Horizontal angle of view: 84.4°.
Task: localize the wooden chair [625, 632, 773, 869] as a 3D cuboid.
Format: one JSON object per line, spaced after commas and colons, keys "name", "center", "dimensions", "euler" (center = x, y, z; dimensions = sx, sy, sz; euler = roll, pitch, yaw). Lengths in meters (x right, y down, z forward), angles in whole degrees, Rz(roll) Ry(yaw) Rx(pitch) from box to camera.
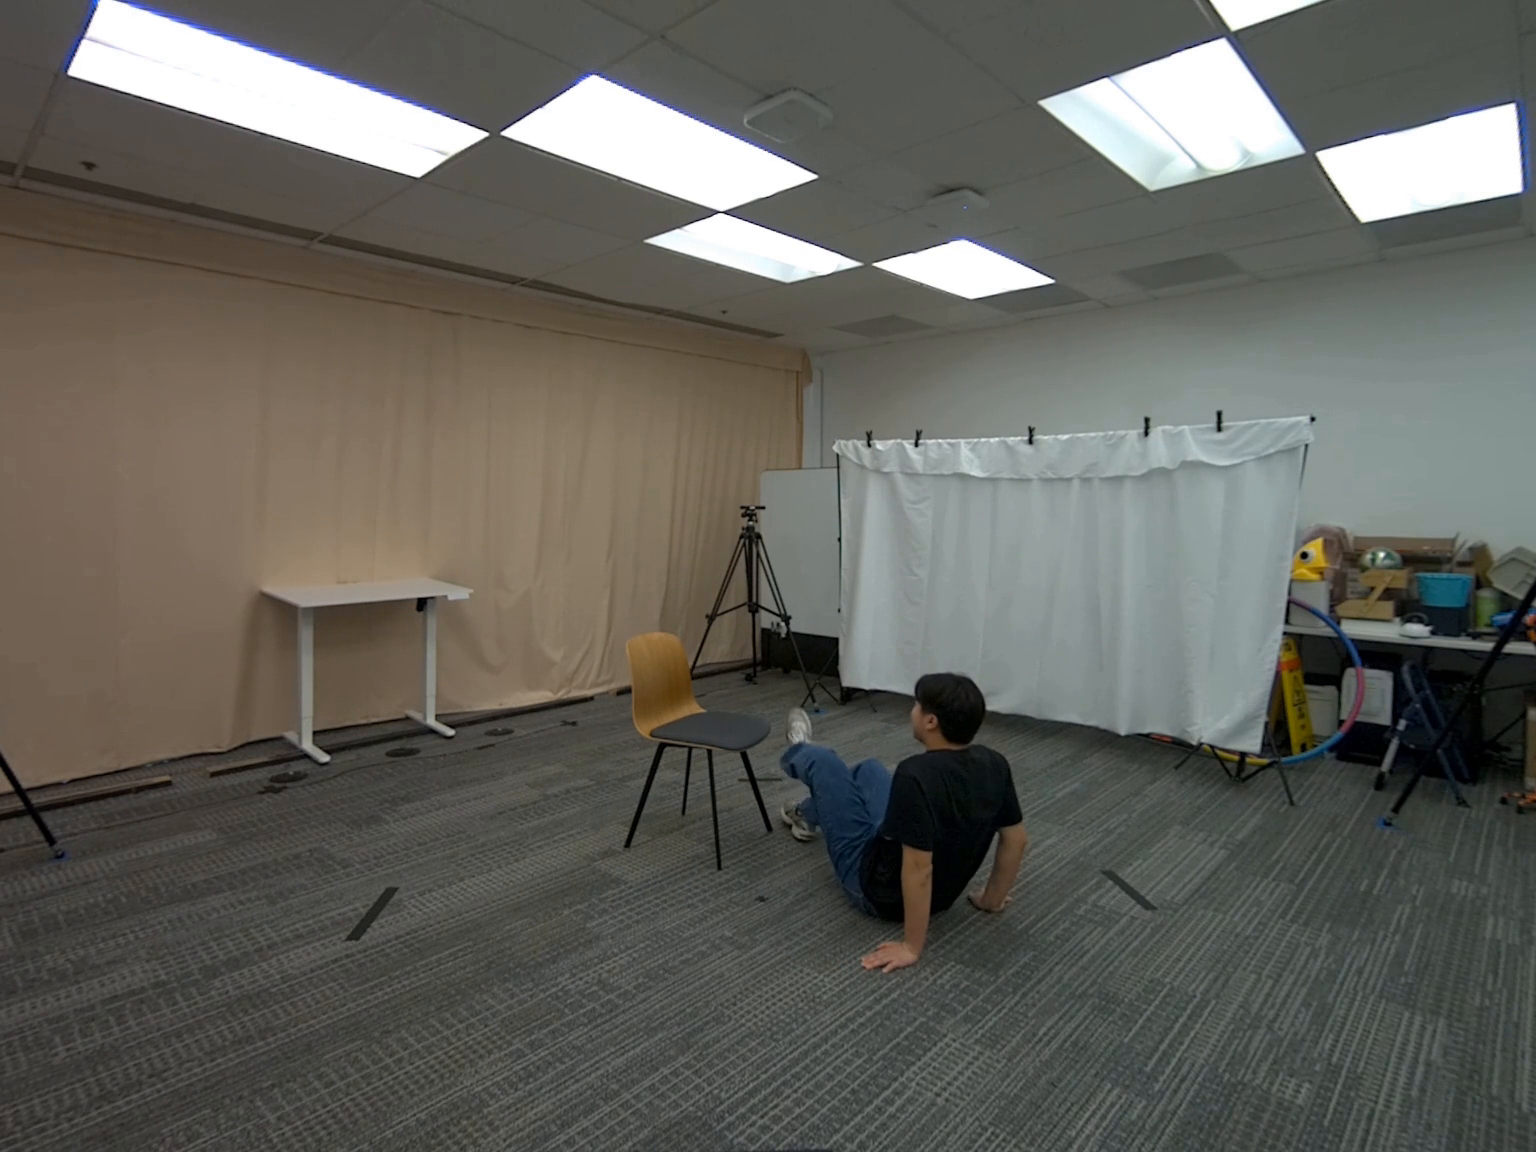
{"name": "wooden chair", "center": [-0.279, 0.676, 3.485], "dimensions": [0.537, 0.877, 0.466], "euler": [-4, 1, 29]}
